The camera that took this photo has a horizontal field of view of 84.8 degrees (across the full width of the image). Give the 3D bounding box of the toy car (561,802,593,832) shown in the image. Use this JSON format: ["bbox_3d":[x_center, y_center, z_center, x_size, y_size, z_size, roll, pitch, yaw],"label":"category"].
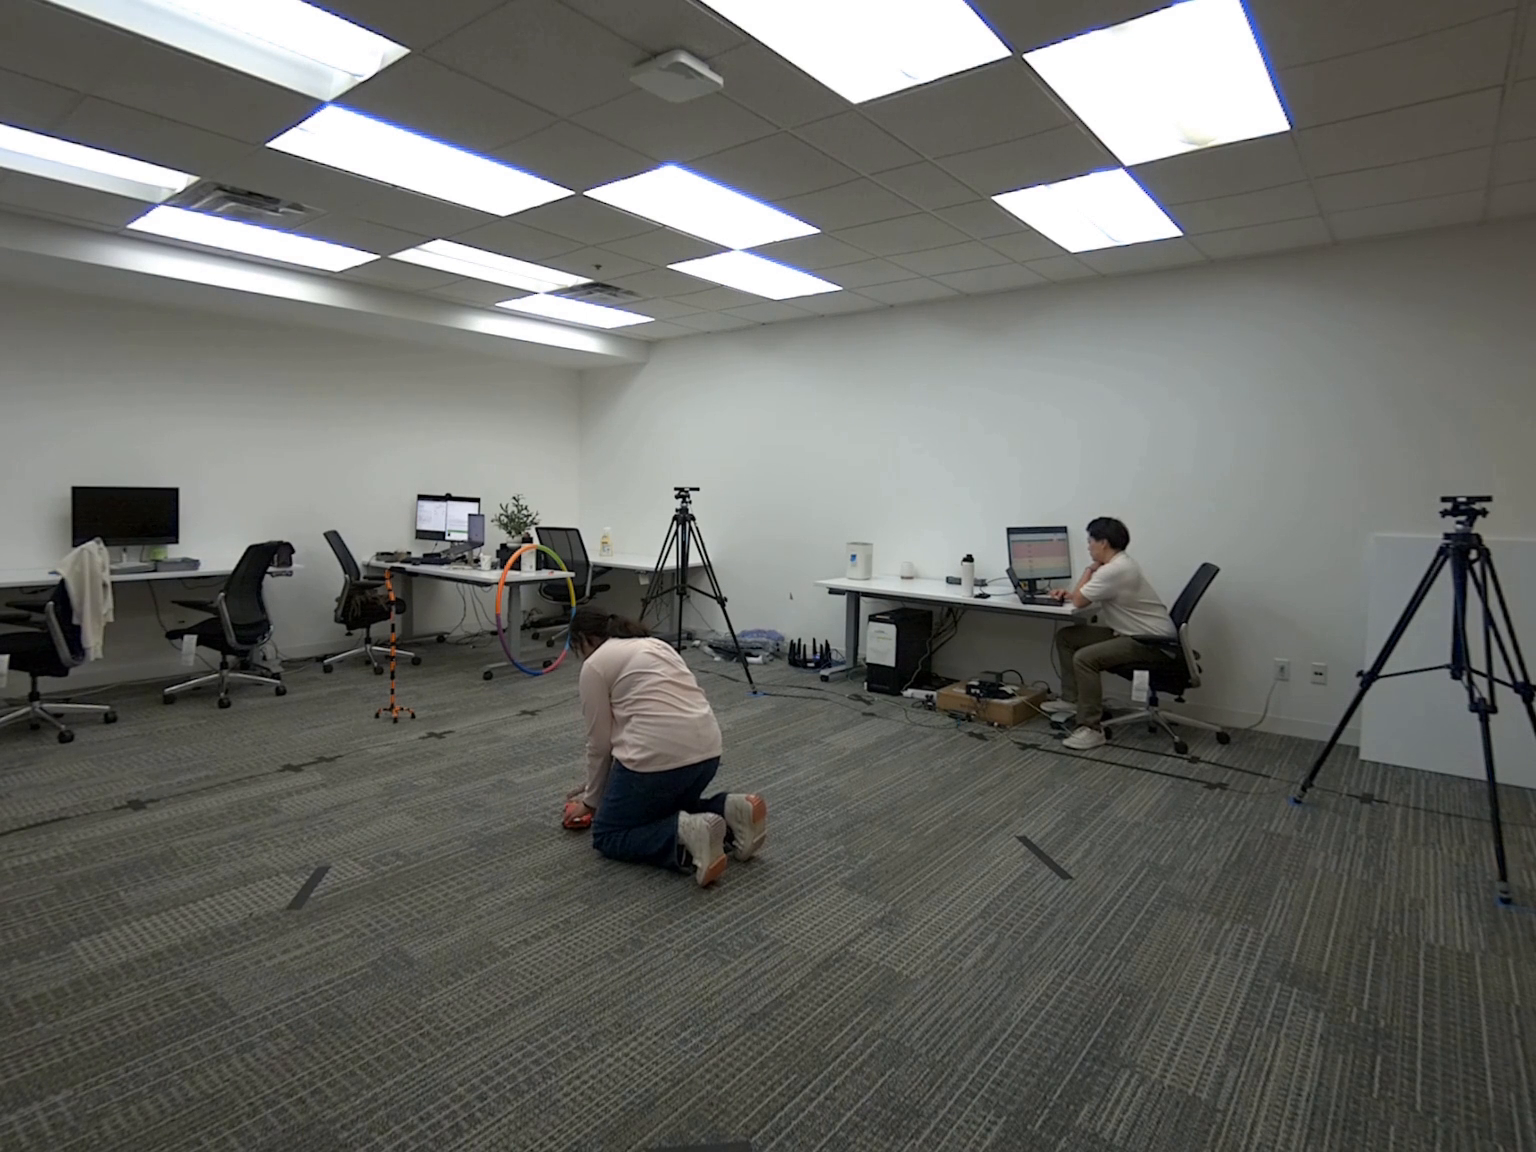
[{"bbox_3d":[-0.799,0.982,3.520,0.129,0.084,0.255,1,-8,-12],"label":"toy car"}]
